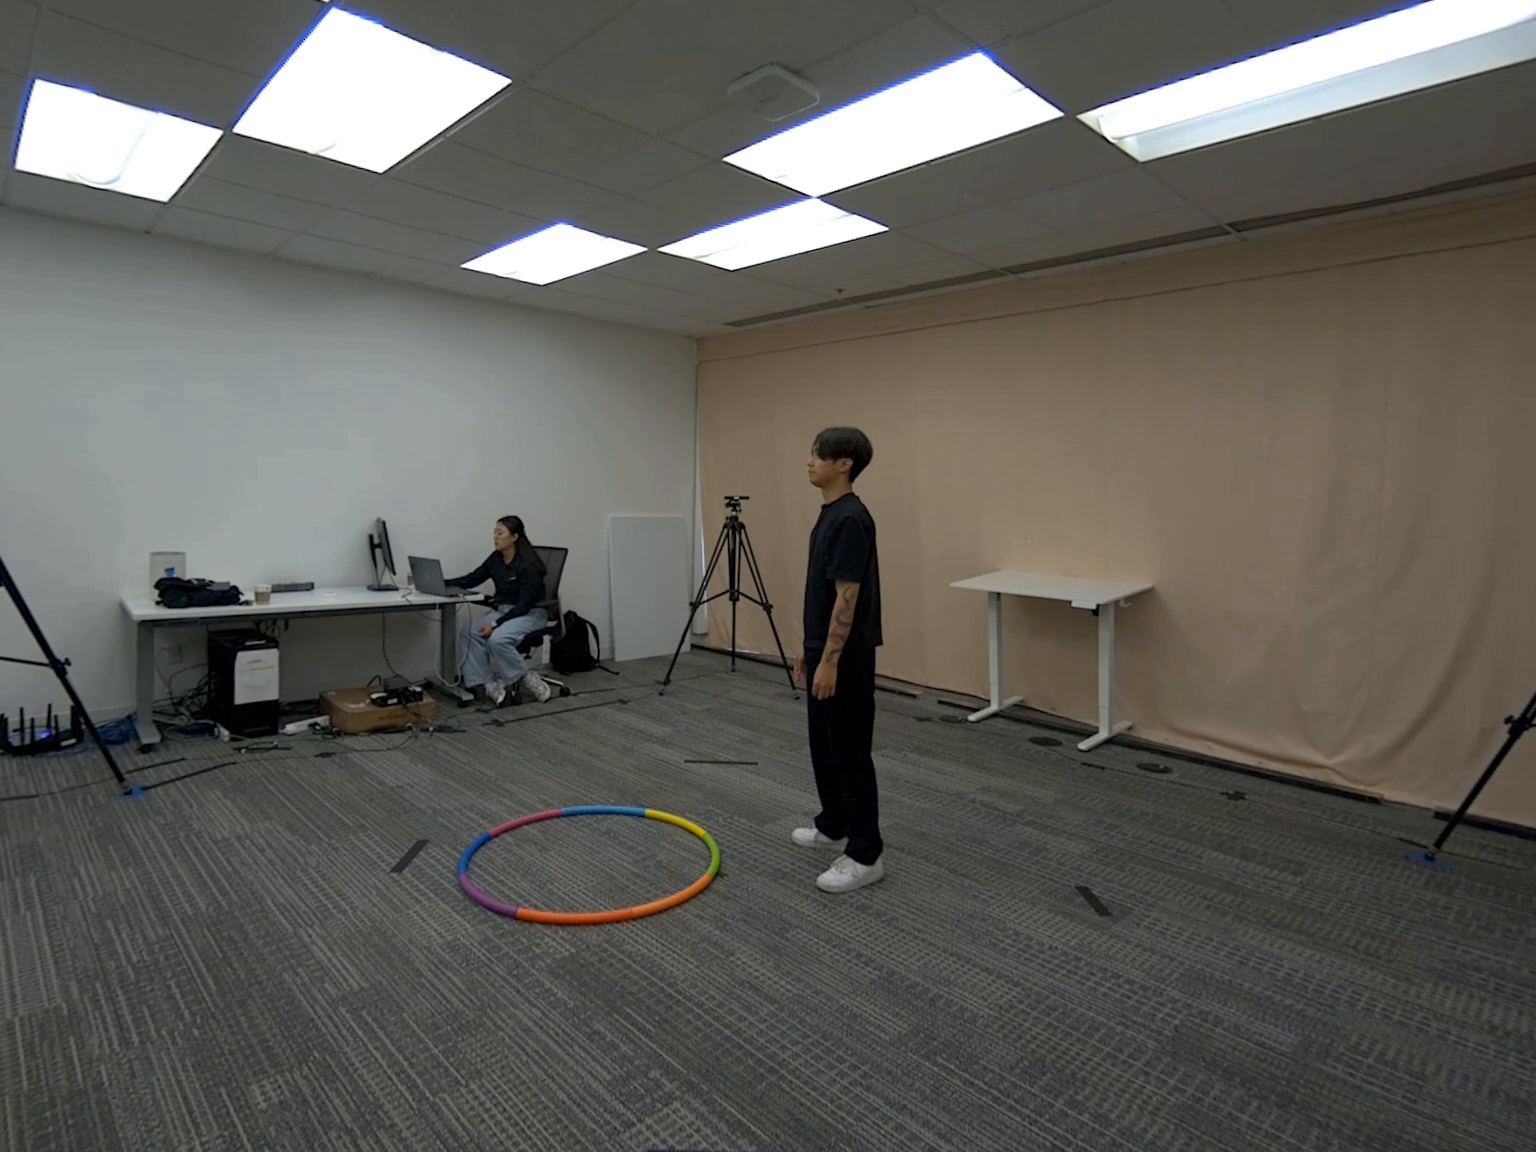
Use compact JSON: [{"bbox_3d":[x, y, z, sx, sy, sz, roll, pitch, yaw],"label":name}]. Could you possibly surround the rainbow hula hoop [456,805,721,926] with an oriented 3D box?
[{"bbox_3d":[-0.668,1.053,3.199,0.978,0.035,0.982,1,5,-1],"label":"rainbow hula hoop"}]
